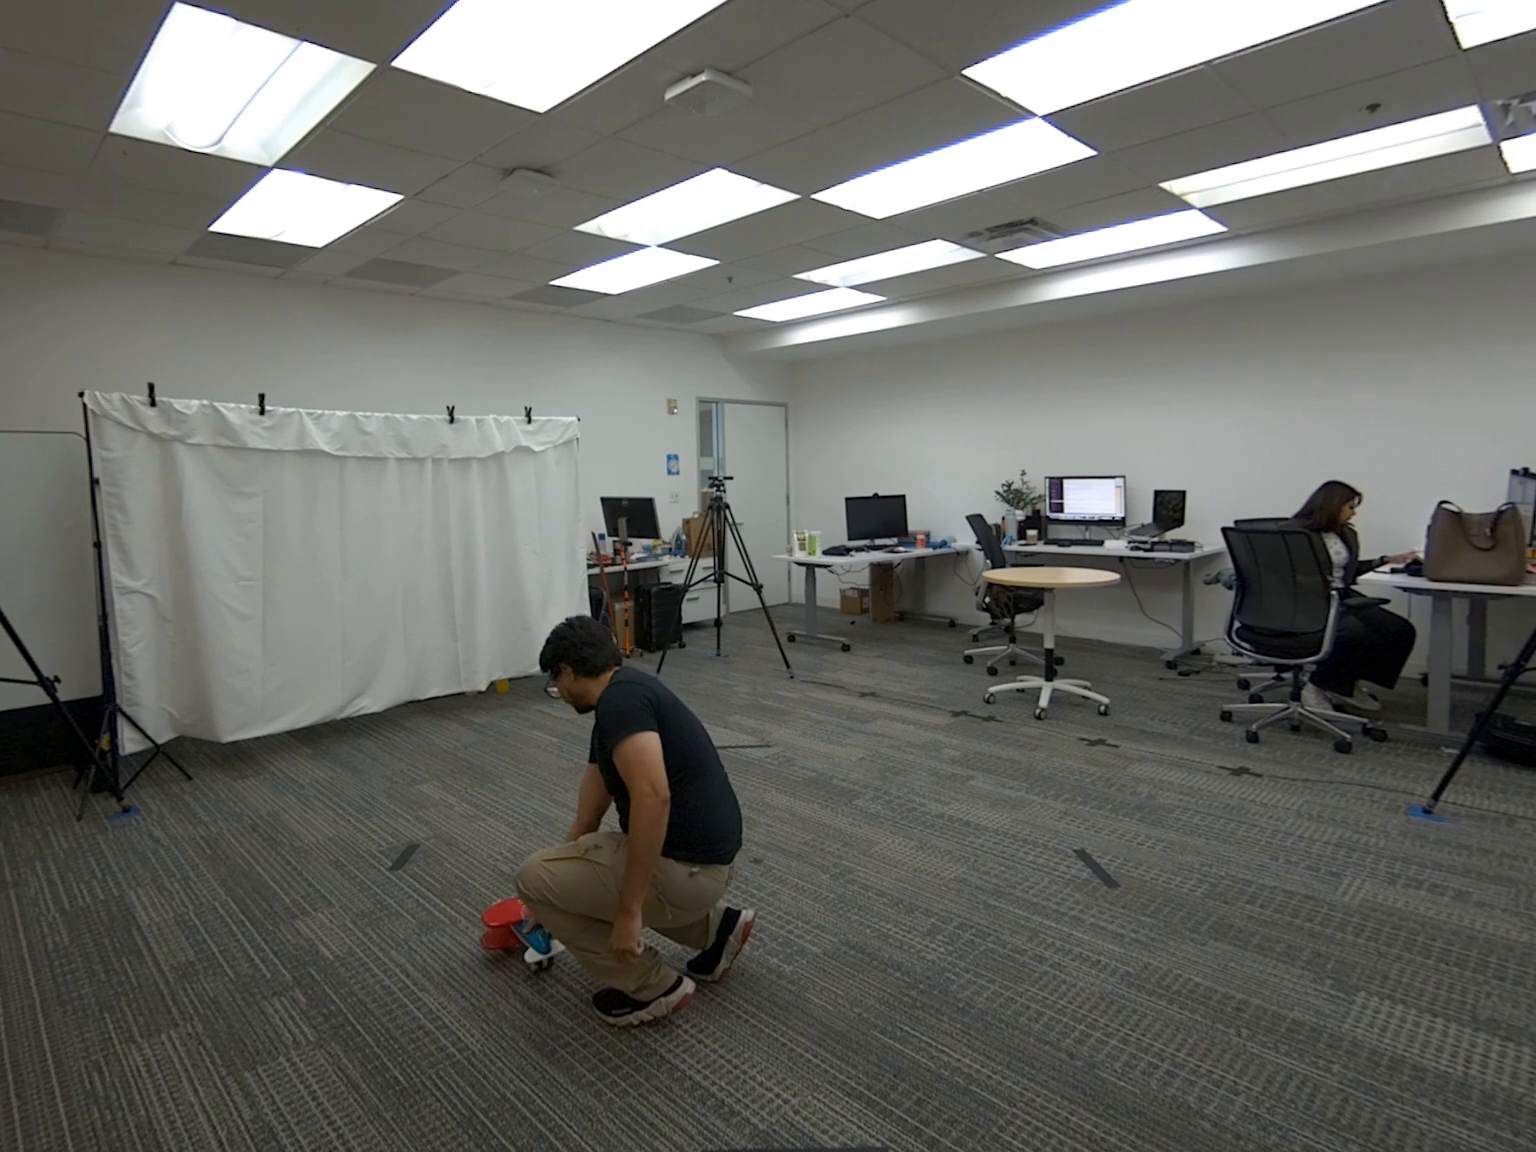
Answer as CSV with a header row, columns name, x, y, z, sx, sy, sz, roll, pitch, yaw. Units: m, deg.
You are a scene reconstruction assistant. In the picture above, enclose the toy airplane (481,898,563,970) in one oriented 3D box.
name,x,y,z,sx,sy,sz,roll,pitch,yaw
toy airplane,-0.693,1.047,2.534,0.264,0.156,0.247,1,6,21
